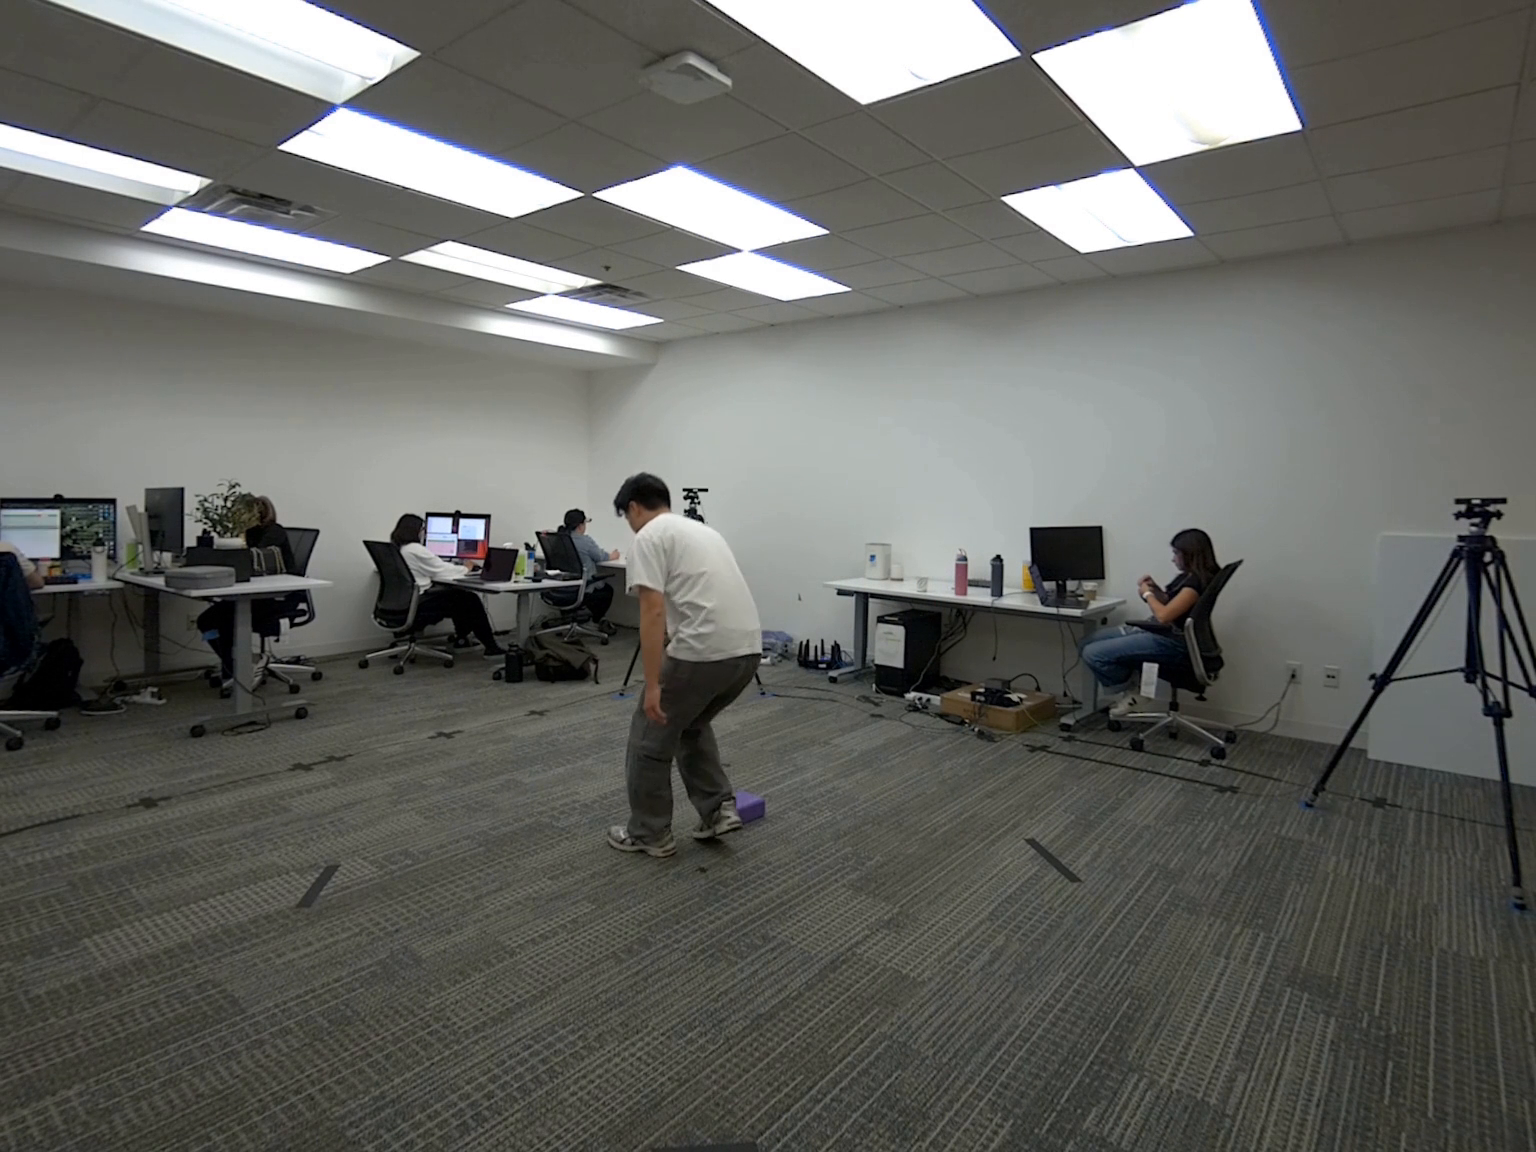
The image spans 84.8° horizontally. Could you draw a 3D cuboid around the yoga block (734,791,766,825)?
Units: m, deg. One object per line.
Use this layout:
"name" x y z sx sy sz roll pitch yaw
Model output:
"yoga block" -0.134 0.977 3.604 0.154 0.076 0.222 5 7 42
